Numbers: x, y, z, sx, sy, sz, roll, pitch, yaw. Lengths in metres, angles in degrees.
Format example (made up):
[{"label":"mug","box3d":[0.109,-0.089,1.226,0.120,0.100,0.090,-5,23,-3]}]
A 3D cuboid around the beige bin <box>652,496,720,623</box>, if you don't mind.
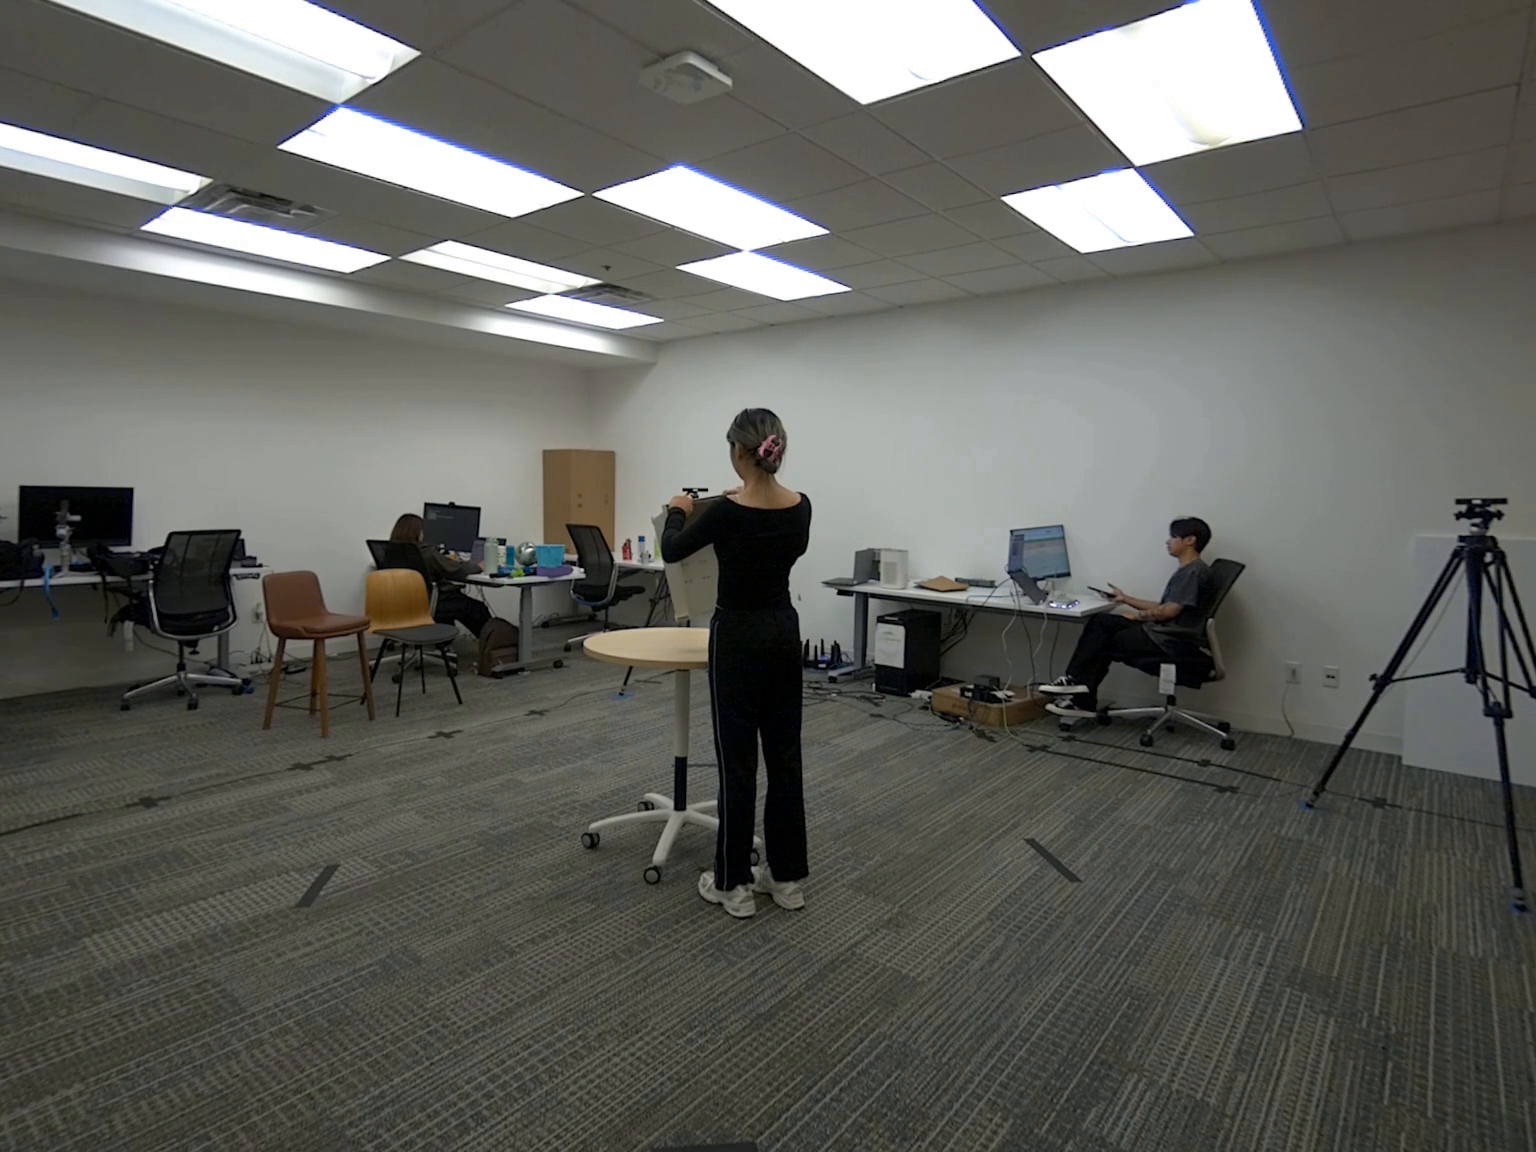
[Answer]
[{"label":"beige bin","box3d":[-0.211,-0.078,3.188,0.370,0.425,0.191,-13,-5,-26]}]
